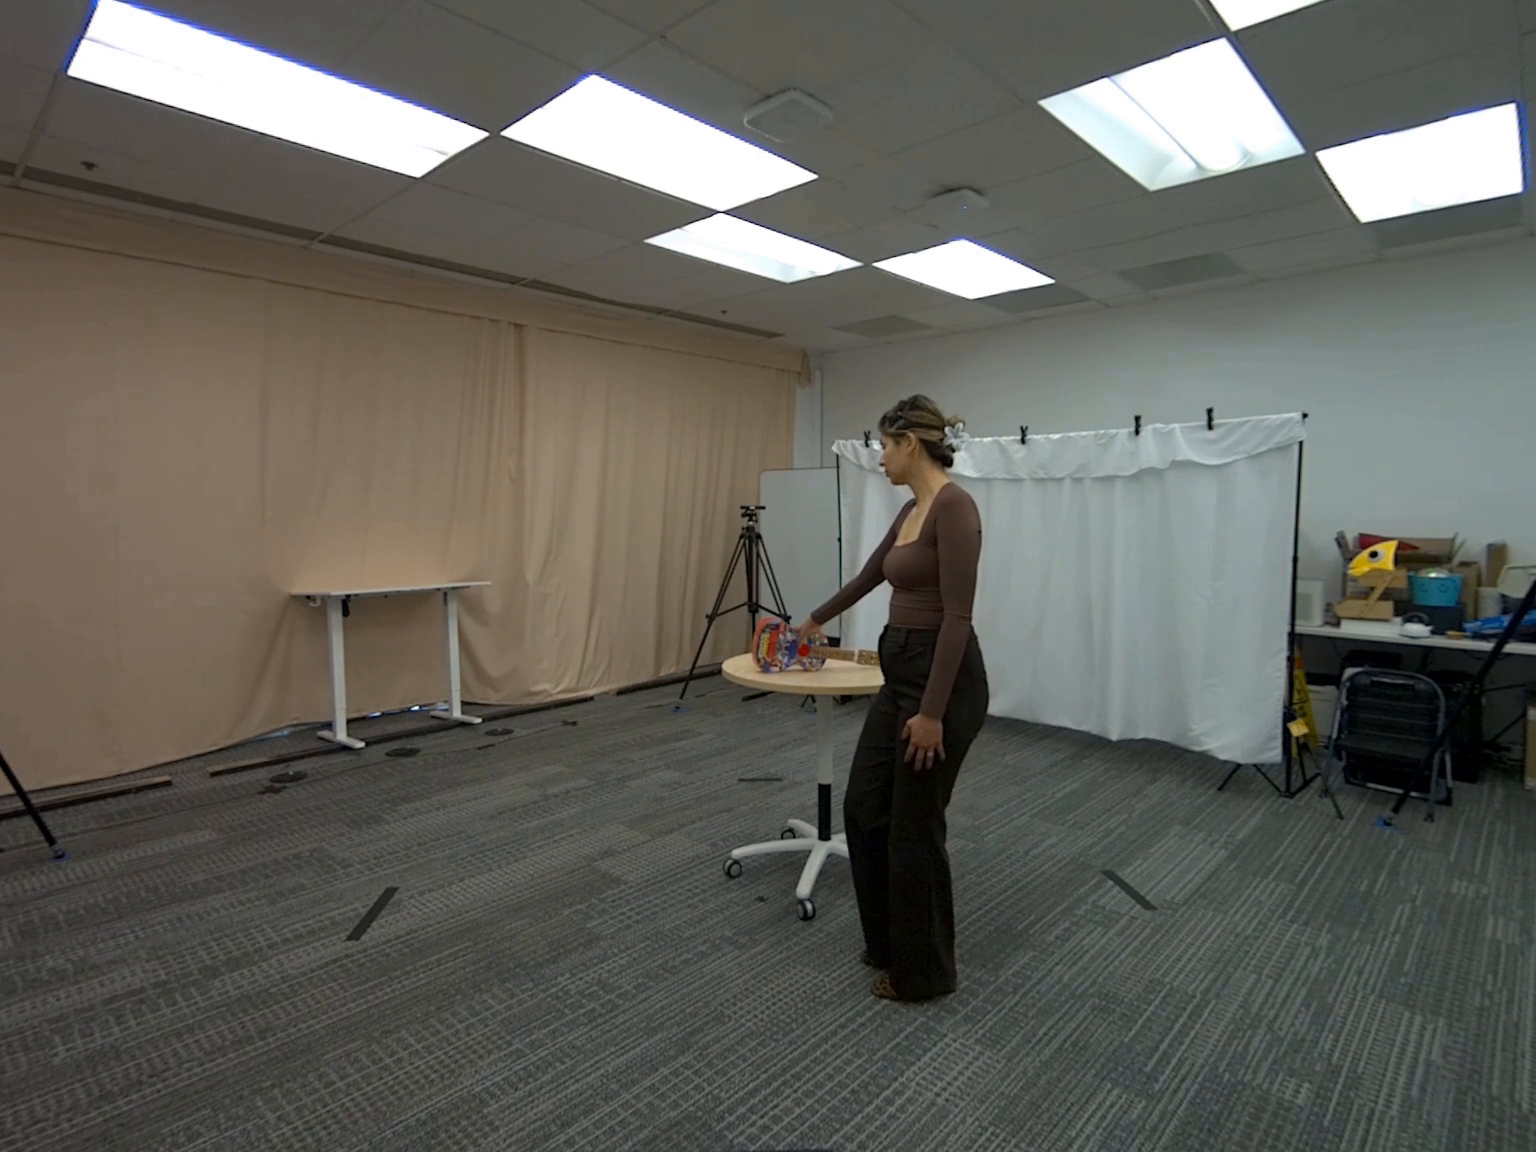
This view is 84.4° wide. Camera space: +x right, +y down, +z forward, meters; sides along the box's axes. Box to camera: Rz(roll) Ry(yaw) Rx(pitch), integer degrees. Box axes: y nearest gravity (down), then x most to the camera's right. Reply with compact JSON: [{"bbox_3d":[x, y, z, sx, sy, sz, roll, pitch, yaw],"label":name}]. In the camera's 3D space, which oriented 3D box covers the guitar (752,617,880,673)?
[{"bbox_3d":[0.195,0.299,3.043,0.491,0.193,0.072,17,2,-11],"label":"guitar"}]
